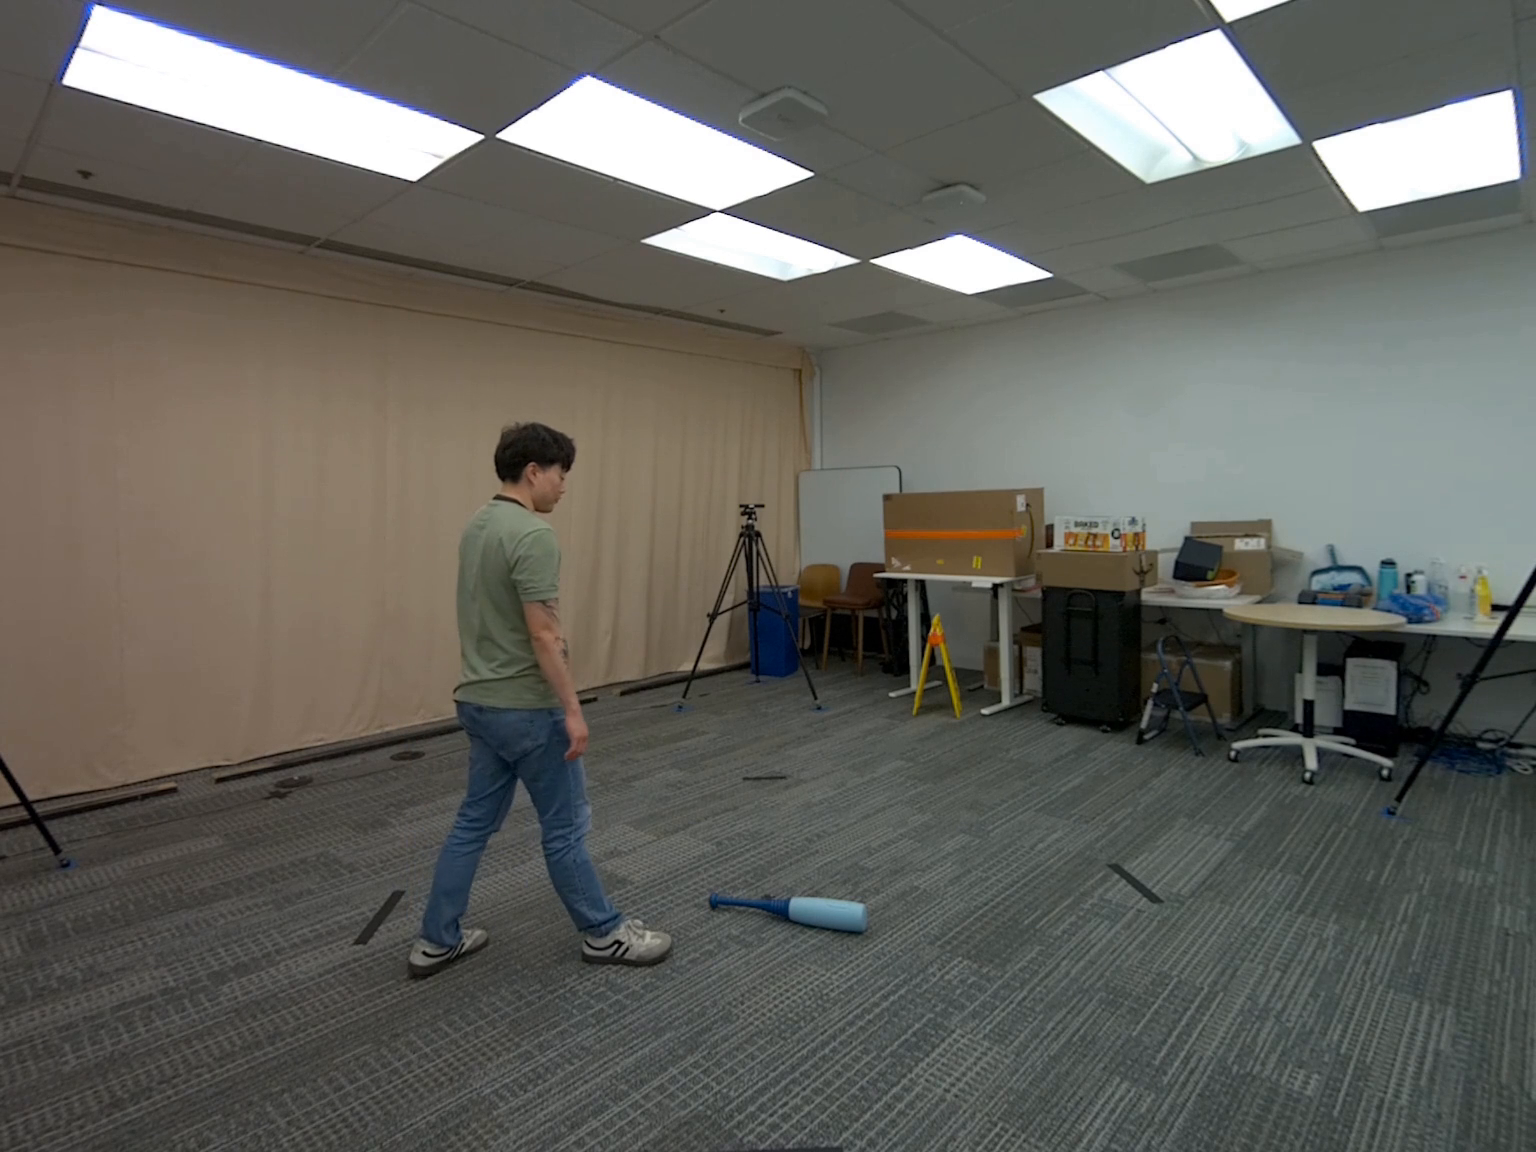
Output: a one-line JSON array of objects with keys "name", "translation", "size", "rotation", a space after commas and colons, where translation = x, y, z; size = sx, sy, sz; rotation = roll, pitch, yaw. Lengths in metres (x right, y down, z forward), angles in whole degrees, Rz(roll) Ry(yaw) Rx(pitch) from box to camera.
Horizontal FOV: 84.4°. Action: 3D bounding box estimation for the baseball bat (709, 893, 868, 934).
[{"name": "baseball bat", "translation": [0.065, 1.116, 2.817], "size": [0.554, 0.089, 0.087], "rotation": [-2, 3, 19]}]
